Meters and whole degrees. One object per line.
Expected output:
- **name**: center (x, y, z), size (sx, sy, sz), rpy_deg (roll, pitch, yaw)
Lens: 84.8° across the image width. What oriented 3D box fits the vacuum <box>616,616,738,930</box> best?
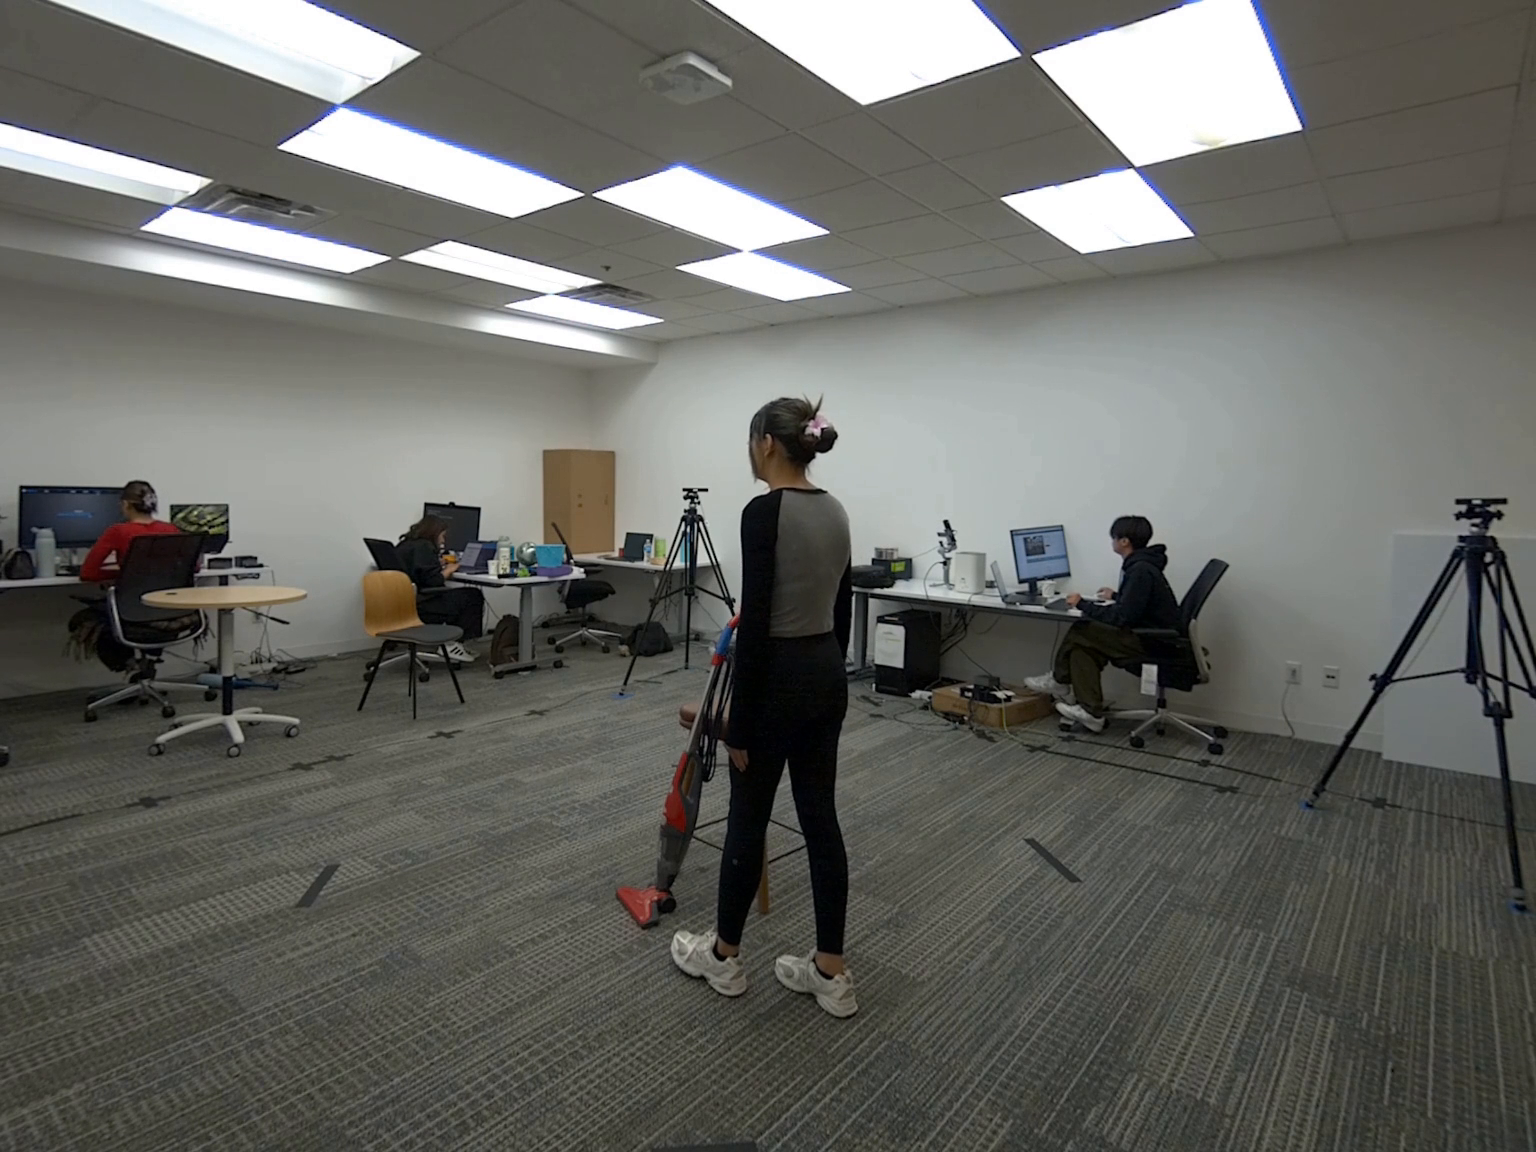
- **vacuum**: center (-0.242, 0.593, 2.867), size (0.139, 1.053, 0.260), rpy_deg (21, -7, -32)
